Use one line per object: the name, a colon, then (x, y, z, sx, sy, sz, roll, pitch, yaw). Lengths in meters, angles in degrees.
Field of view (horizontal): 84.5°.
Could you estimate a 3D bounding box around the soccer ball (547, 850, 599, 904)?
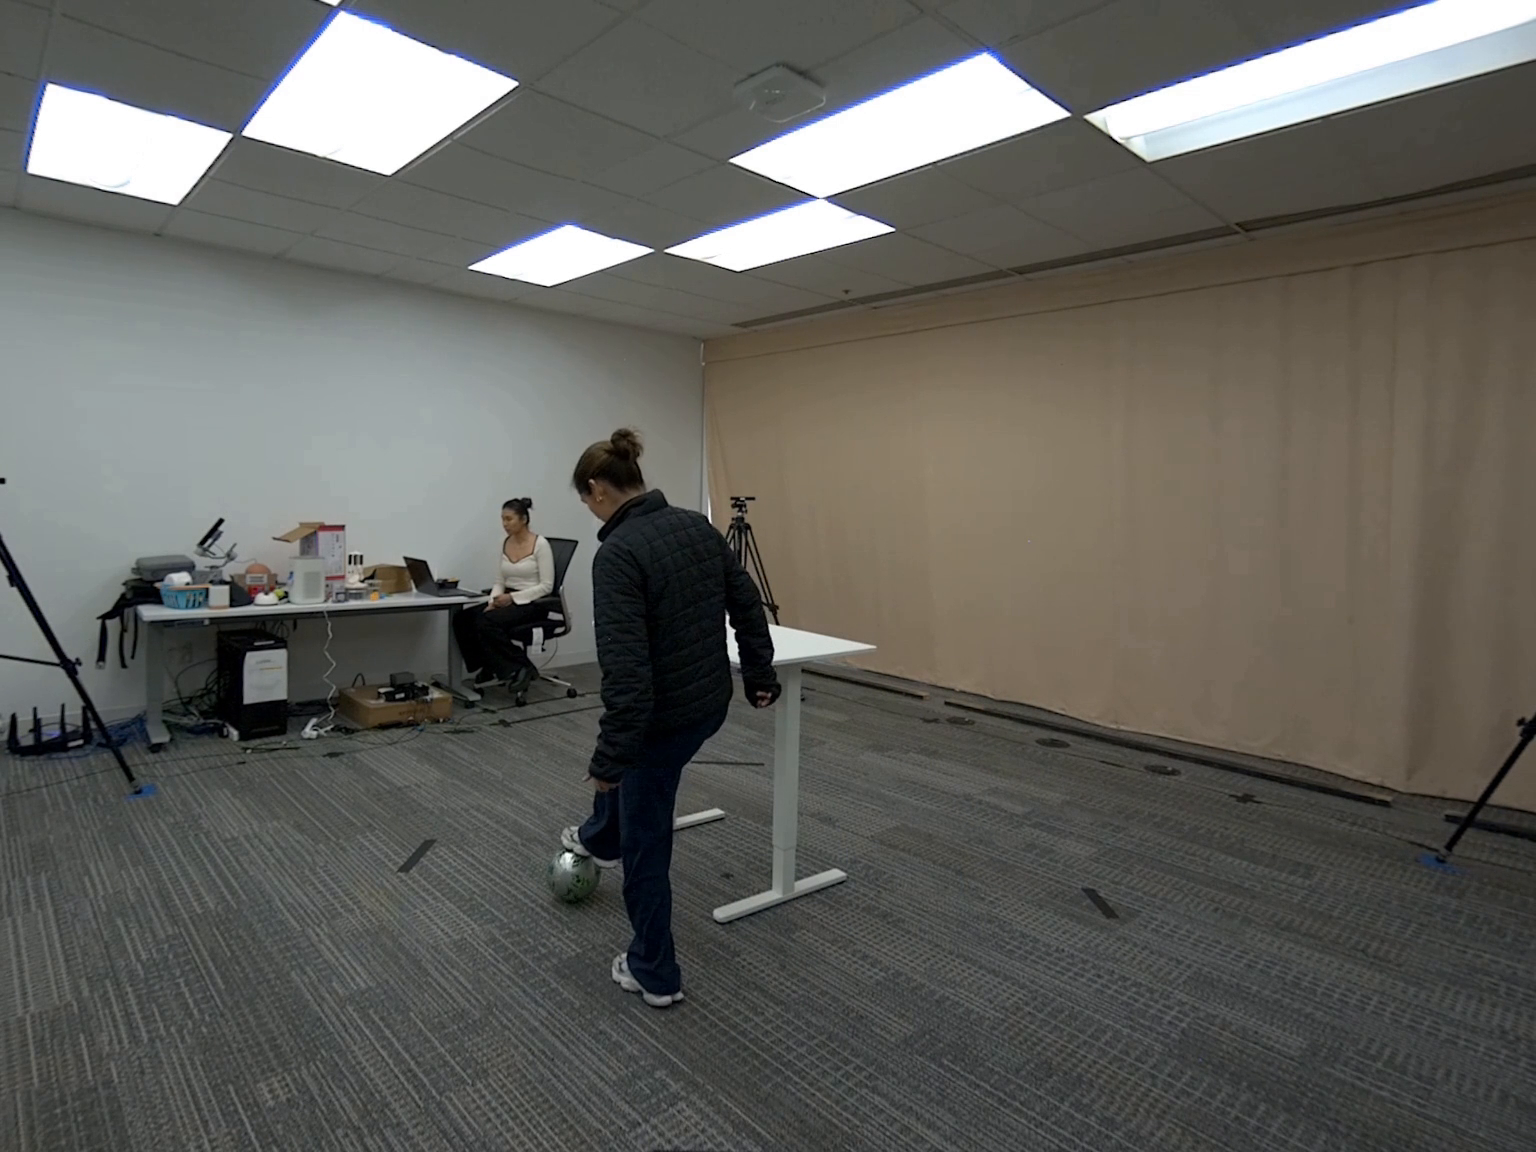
soccer ball: (-0.669, 1.017, 2.894, 0.187, 0.187, 0.188, 1, 4, -1)
